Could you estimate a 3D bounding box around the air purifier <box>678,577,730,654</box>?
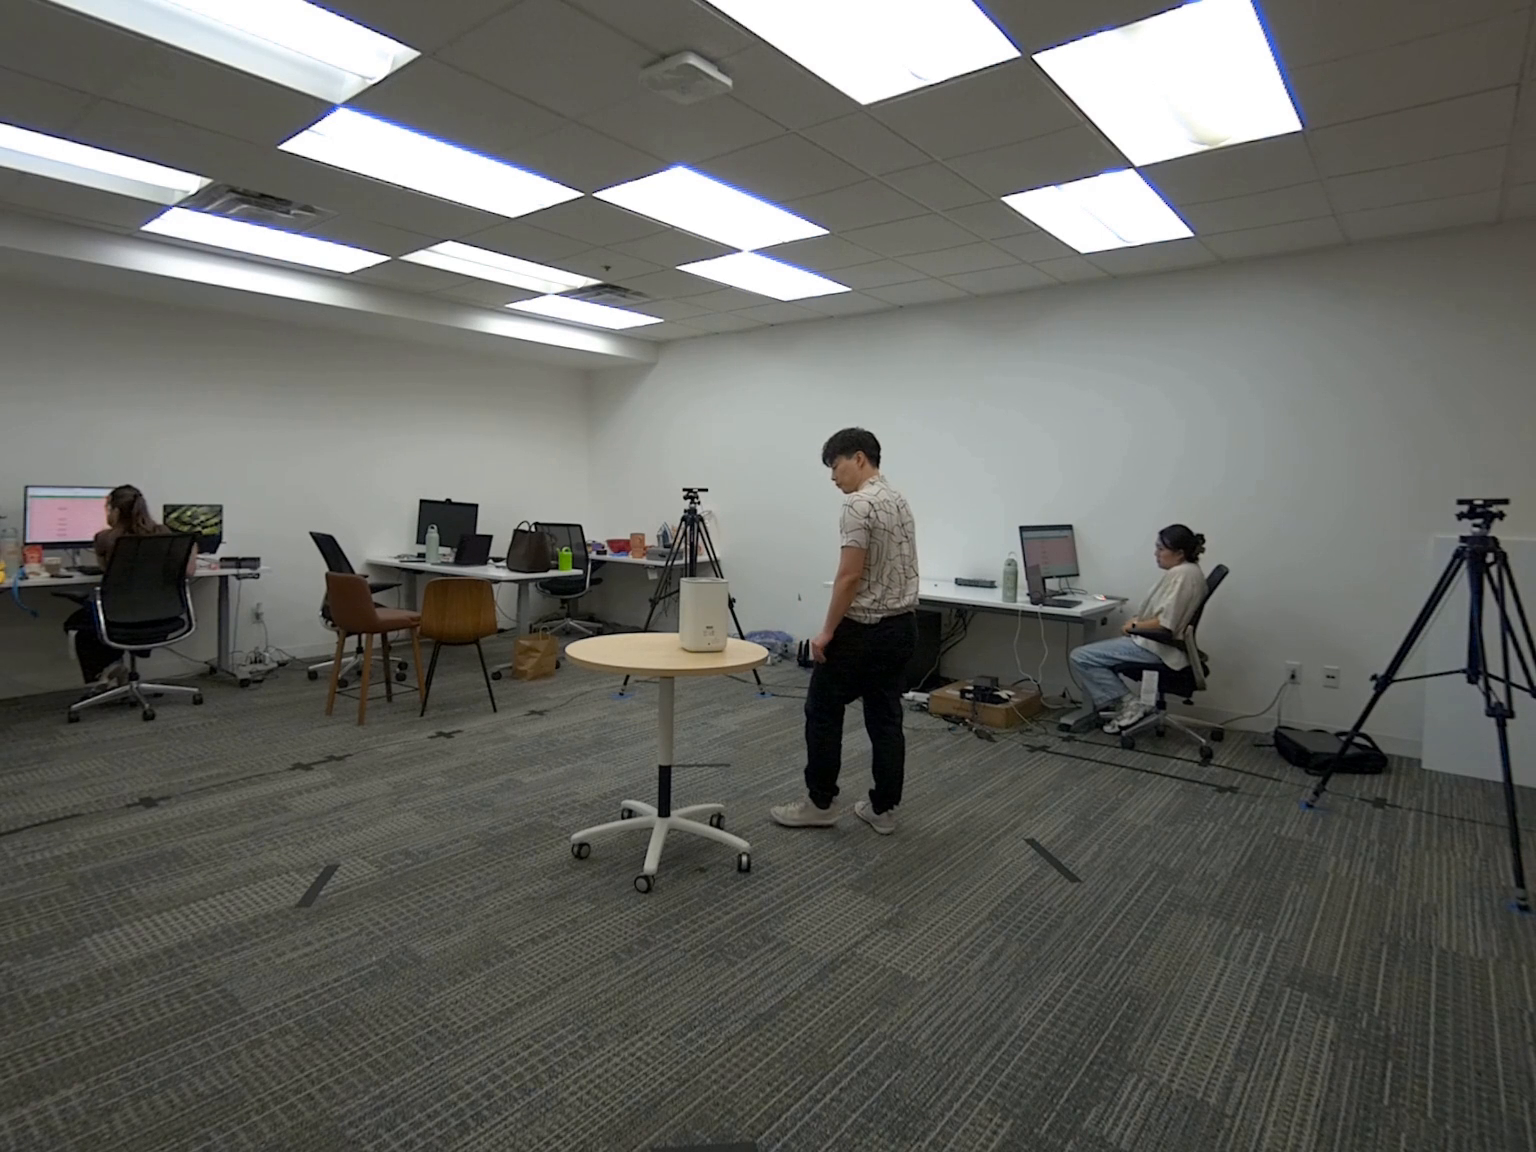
[{"bbox_3d":[-0.252,0.145,3.236,0.168,0.265,0.175,2,2,-17],"label":"air purifier"}]
